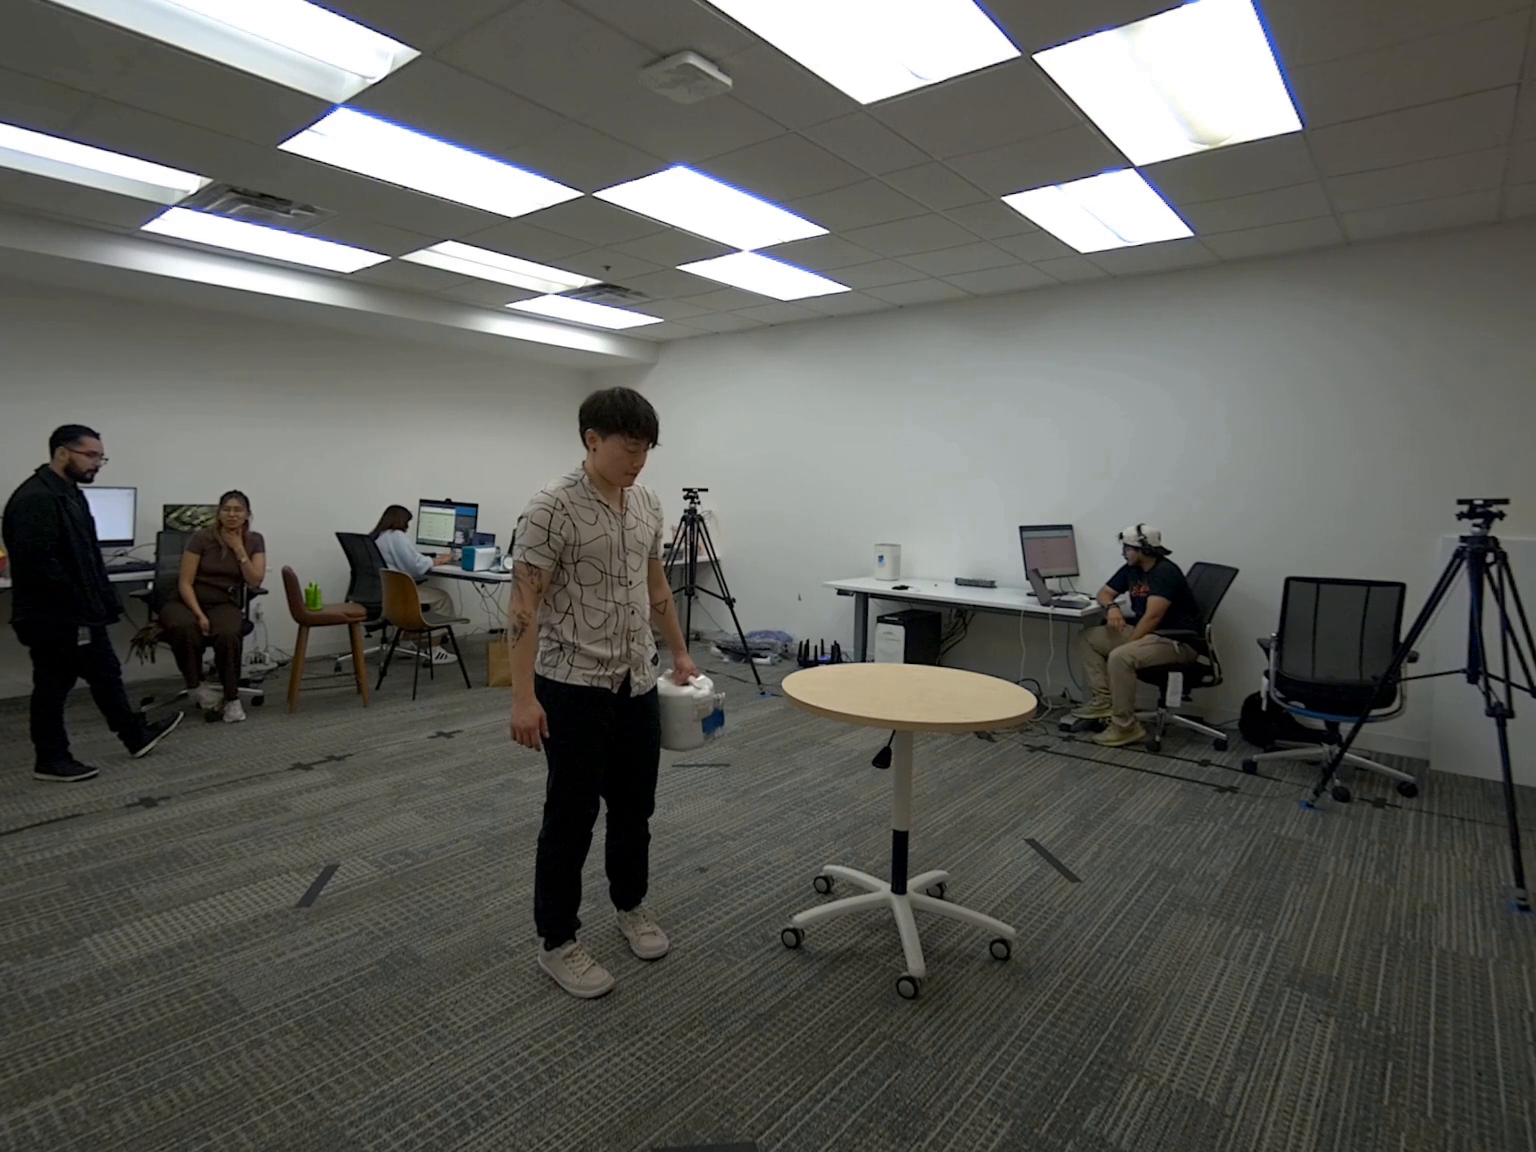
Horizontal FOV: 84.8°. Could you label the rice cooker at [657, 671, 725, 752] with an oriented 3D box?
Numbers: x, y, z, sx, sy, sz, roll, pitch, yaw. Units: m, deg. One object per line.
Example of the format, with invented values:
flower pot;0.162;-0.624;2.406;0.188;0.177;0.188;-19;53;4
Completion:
rice cooker;-0.288;0.411;2.687;0.212;0.231;0.228;-10;11;-42
